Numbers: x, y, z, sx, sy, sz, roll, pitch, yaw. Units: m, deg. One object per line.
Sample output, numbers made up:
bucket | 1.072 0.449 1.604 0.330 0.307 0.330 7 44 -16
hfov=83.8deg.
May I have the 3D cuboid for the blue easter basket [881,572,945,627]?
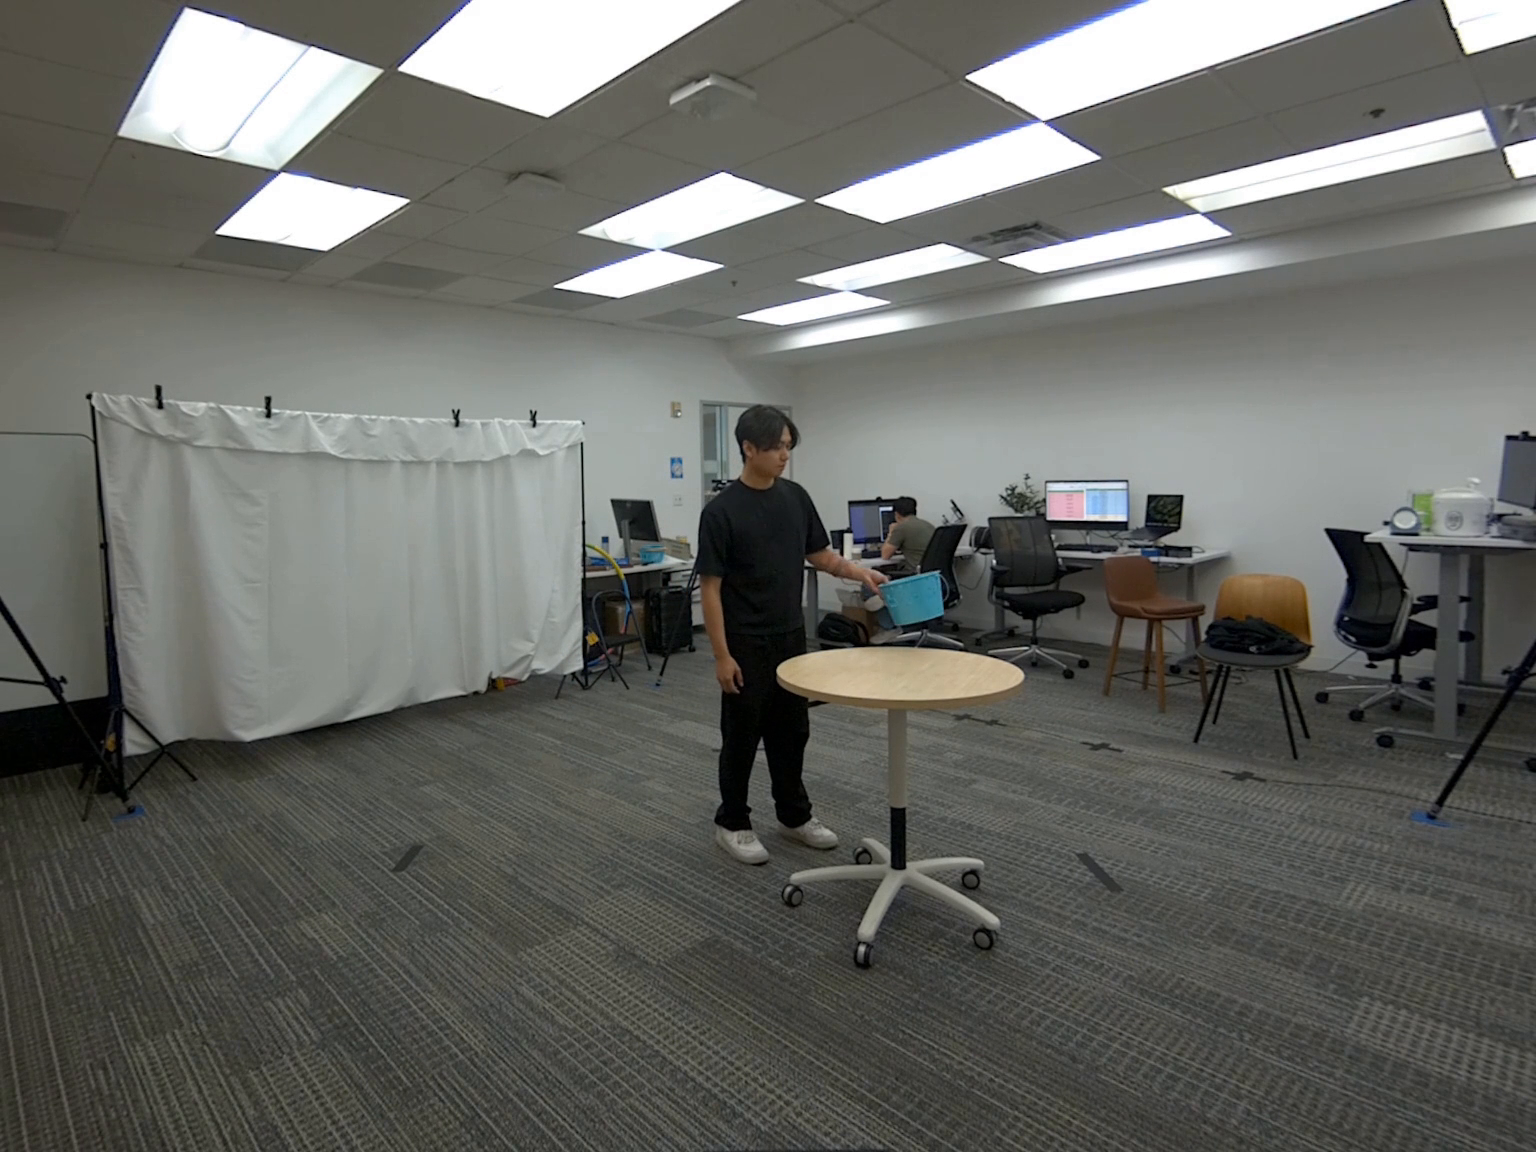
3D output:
blue easter basket | 0.531 0.088 3.083 0.243 0.156 0.243 -13 -1 -2
